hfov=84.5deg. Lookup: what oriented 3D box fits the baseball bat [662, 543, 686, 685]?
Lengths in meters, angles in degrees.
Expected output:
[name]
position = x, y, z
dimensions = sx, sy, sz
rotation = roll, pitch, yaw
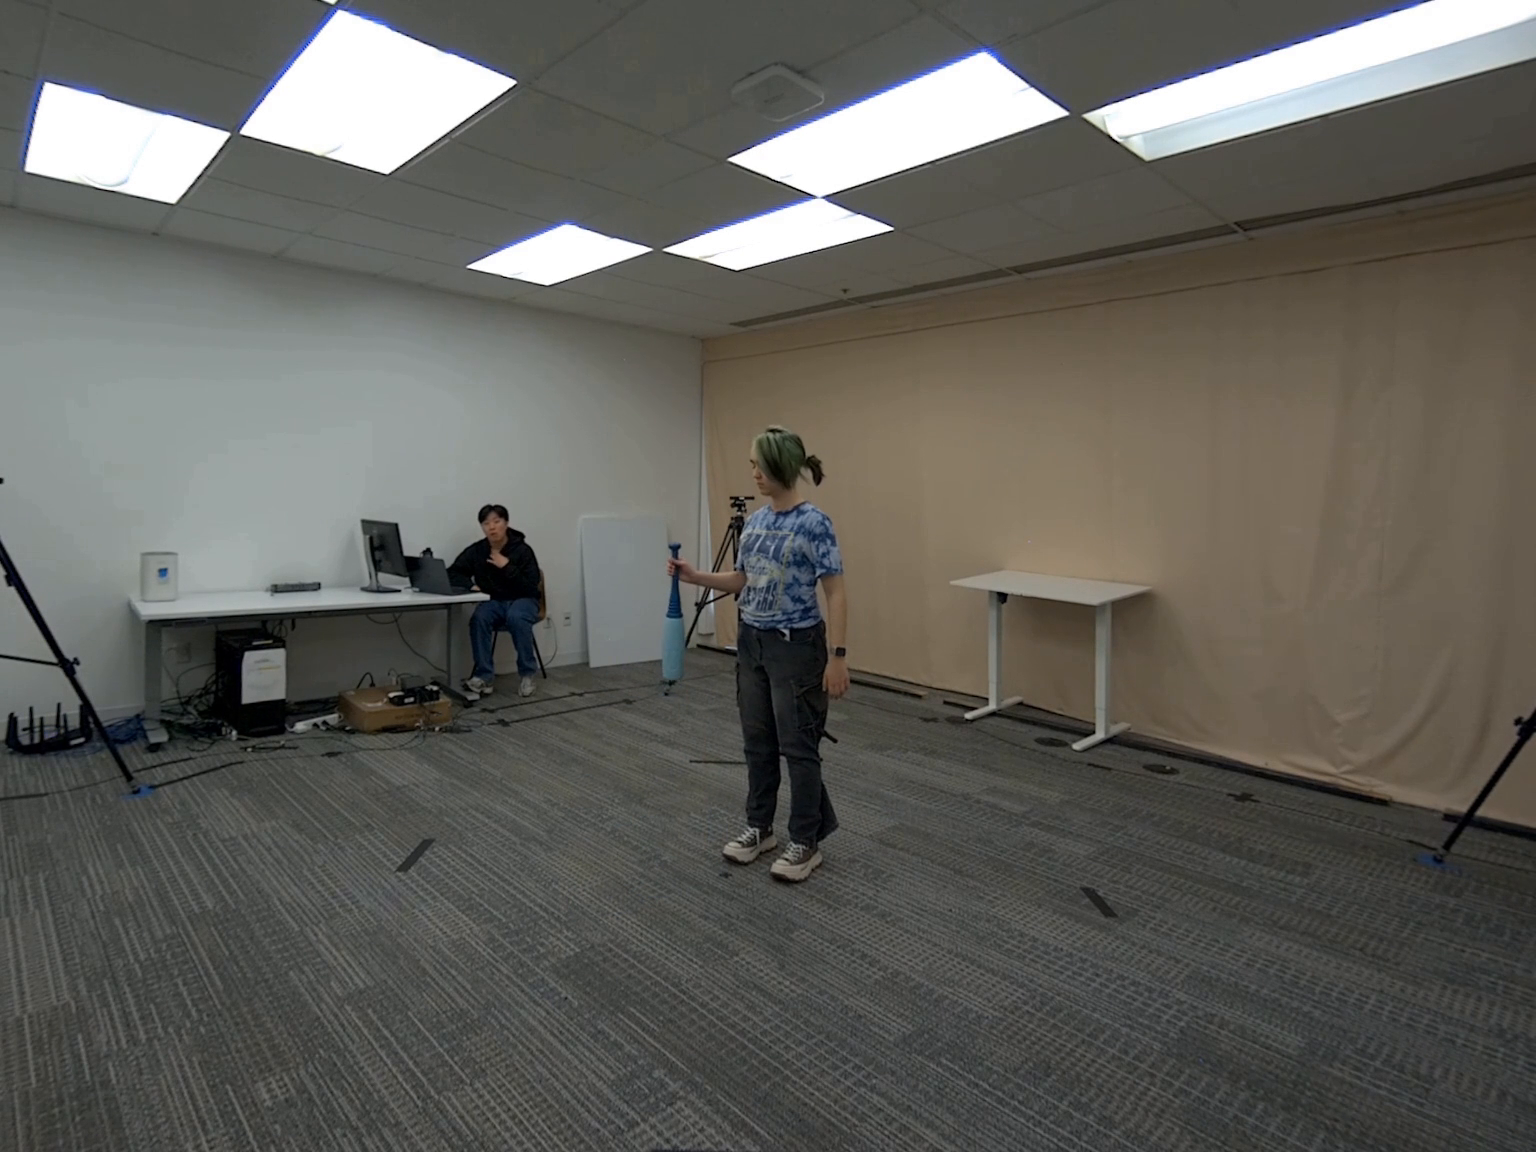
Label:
[baseball bat]
position = -0.370, 0.146, 3.296
dimensions = 0.089, 0.540, 0.089
rotation = 3, 6, -2
